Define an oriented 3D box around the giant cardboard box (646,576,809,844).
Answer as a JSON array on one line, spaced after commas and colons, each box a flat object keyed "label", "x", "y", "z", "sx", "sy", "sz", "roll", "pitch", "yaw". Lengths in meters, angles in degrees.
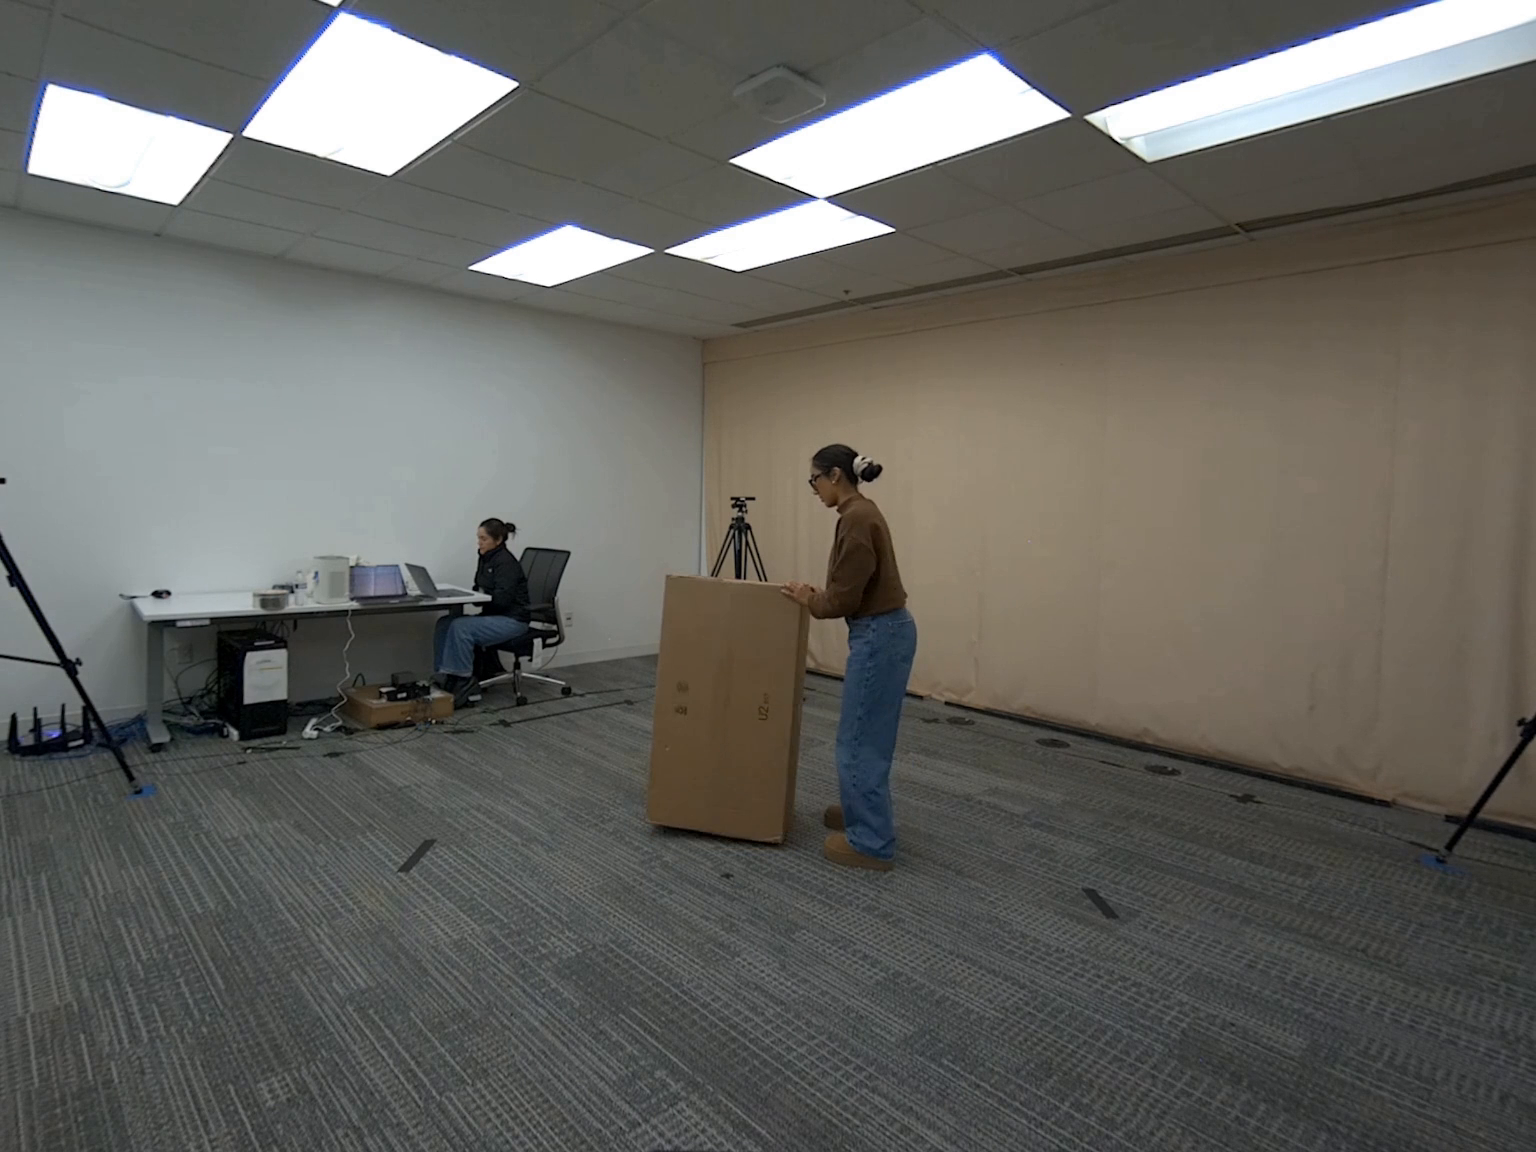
[{"label": "giant cardboard box", "x": -0.161, "y": 0.535, "z": 3.618, "sx": 0.589, "sy": 1.027, "sz": 0.442, "roll": 5, "pitch": -1, "yaw": 10}]
